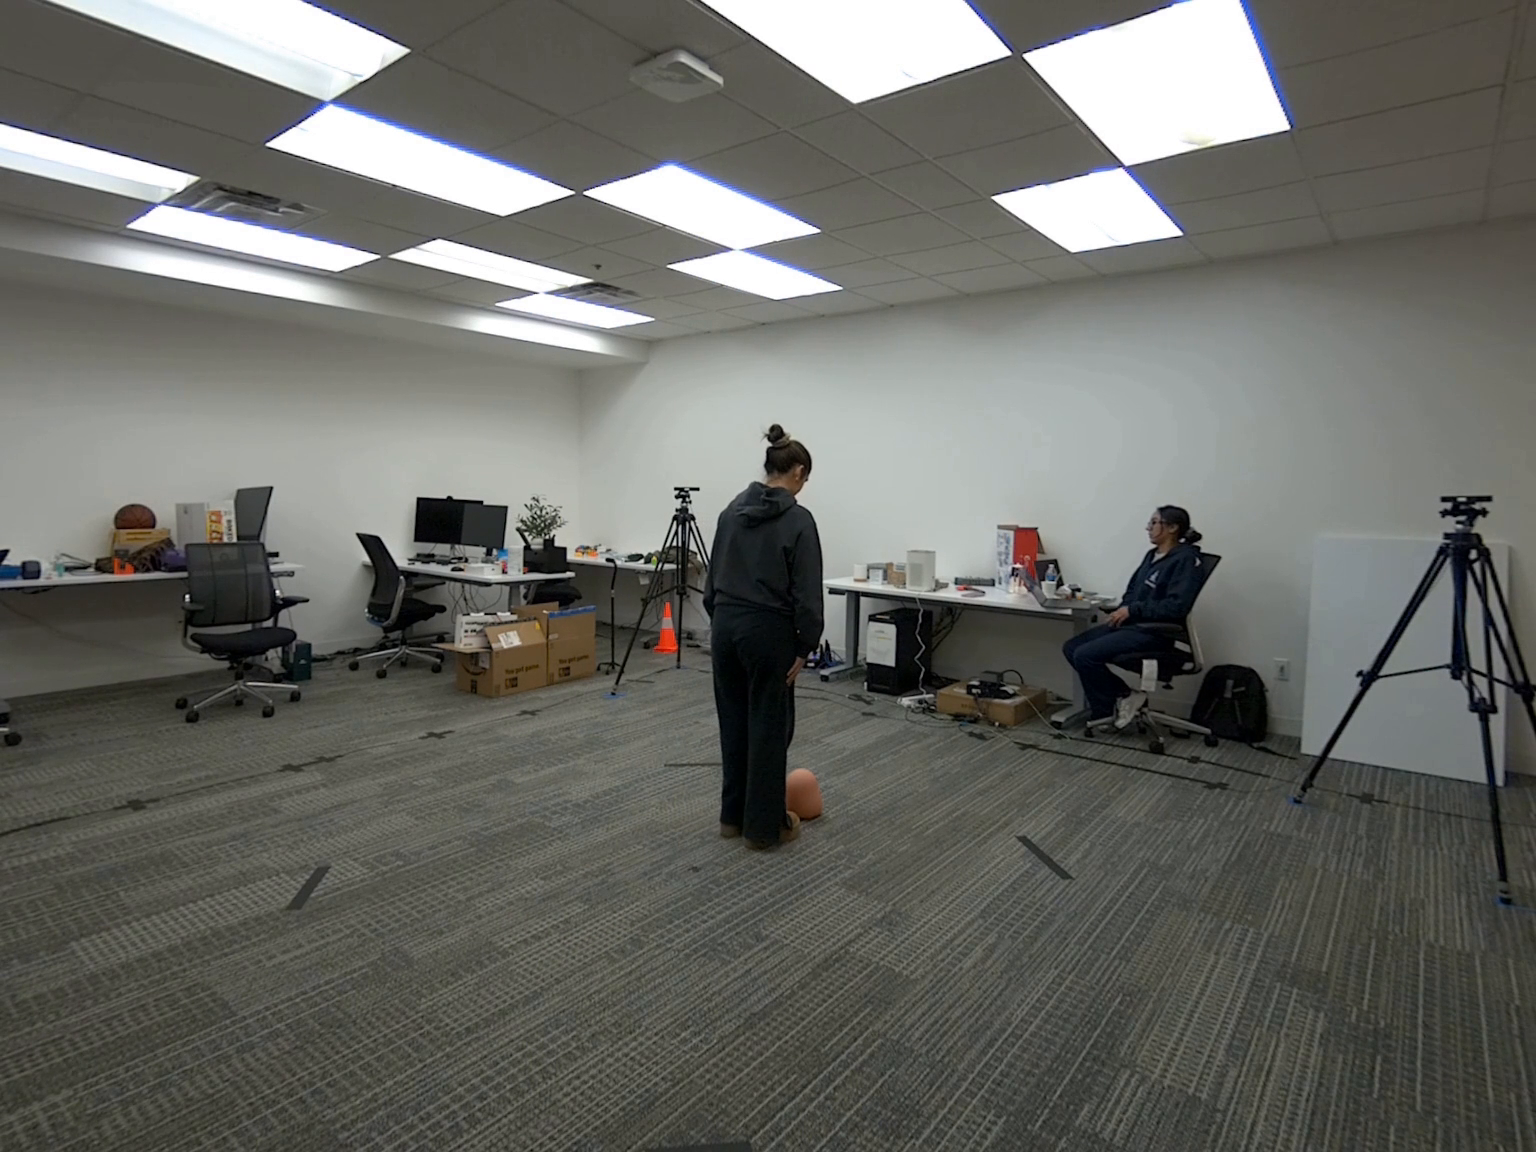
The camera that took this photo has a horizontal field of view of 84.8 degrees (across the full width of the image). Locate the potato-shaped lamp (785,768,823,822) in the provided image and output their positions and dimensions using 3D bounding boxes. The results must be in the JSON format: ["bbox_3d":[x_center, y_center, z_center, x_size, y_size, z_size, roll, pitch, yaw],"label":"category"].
[{"bbox_3d":[0.145,0.920,3.640,0.166,0.197,0.170,-7,9,-43],"label":"potato-shaped lamp"}]
